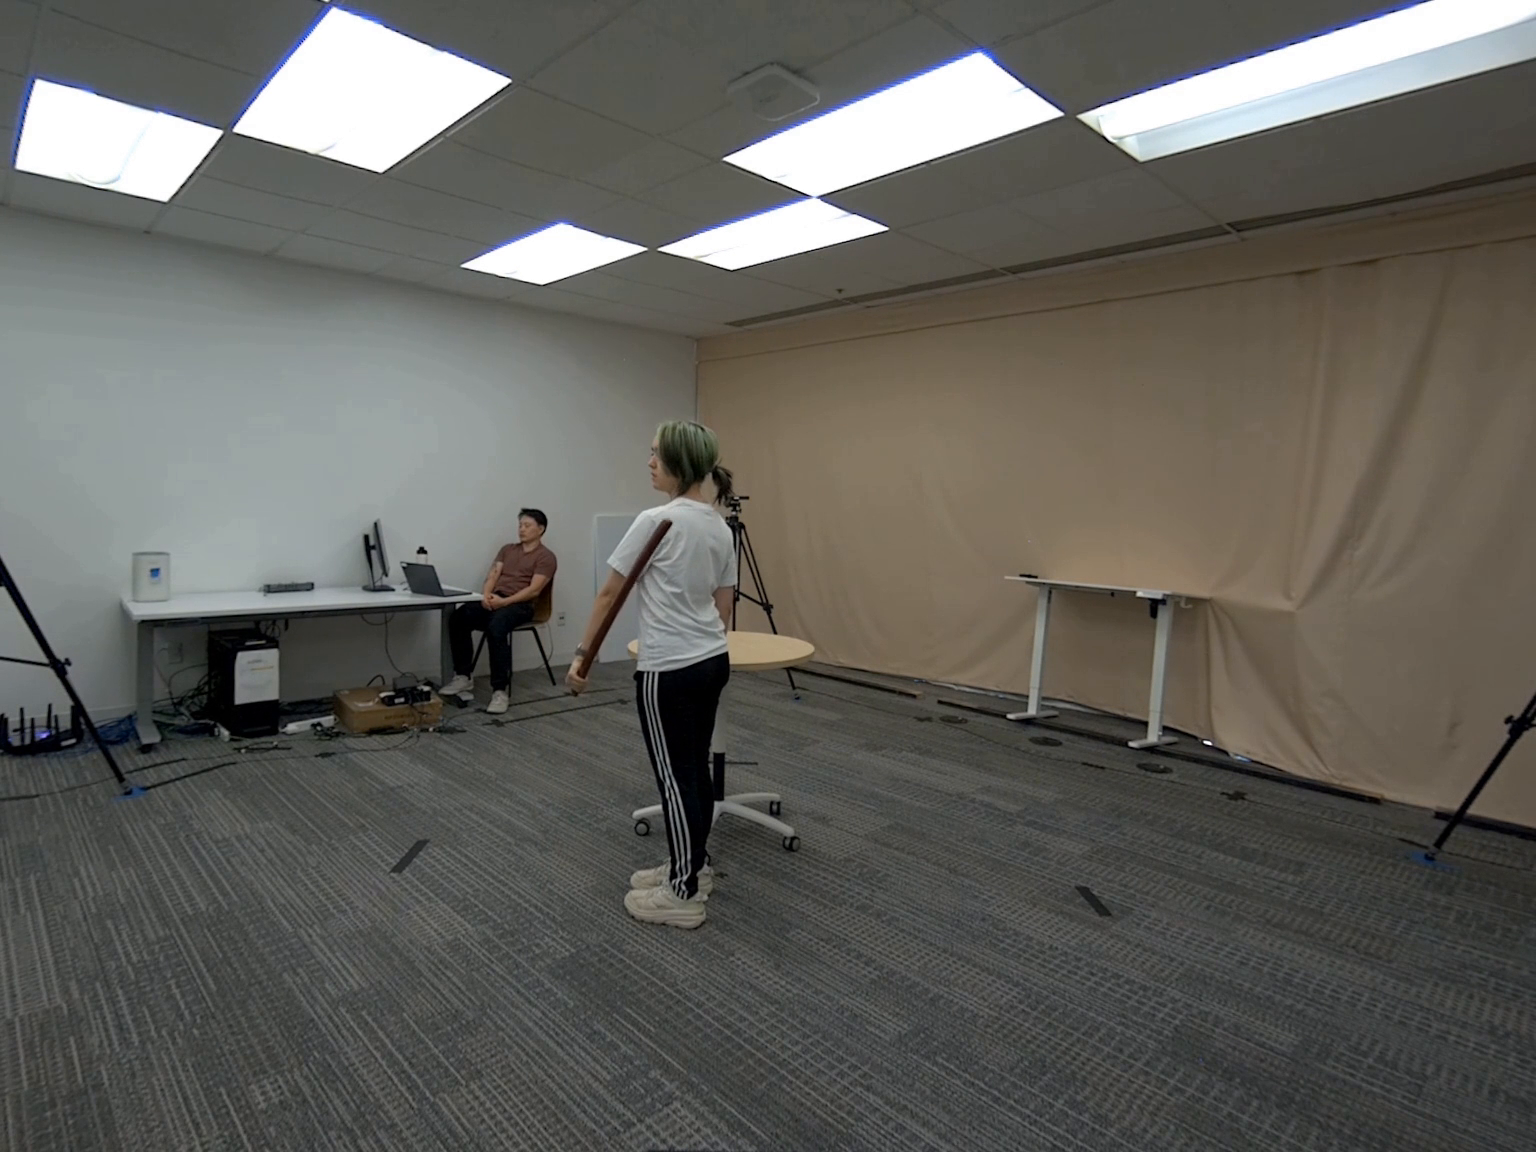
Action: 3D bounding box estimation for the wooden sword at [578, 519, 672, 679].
[{"bbox_3d":[-0.432,0.123,2.422,0.023,0.052,1.022,-2,-30,-31],"label":"wooden sword"}]
